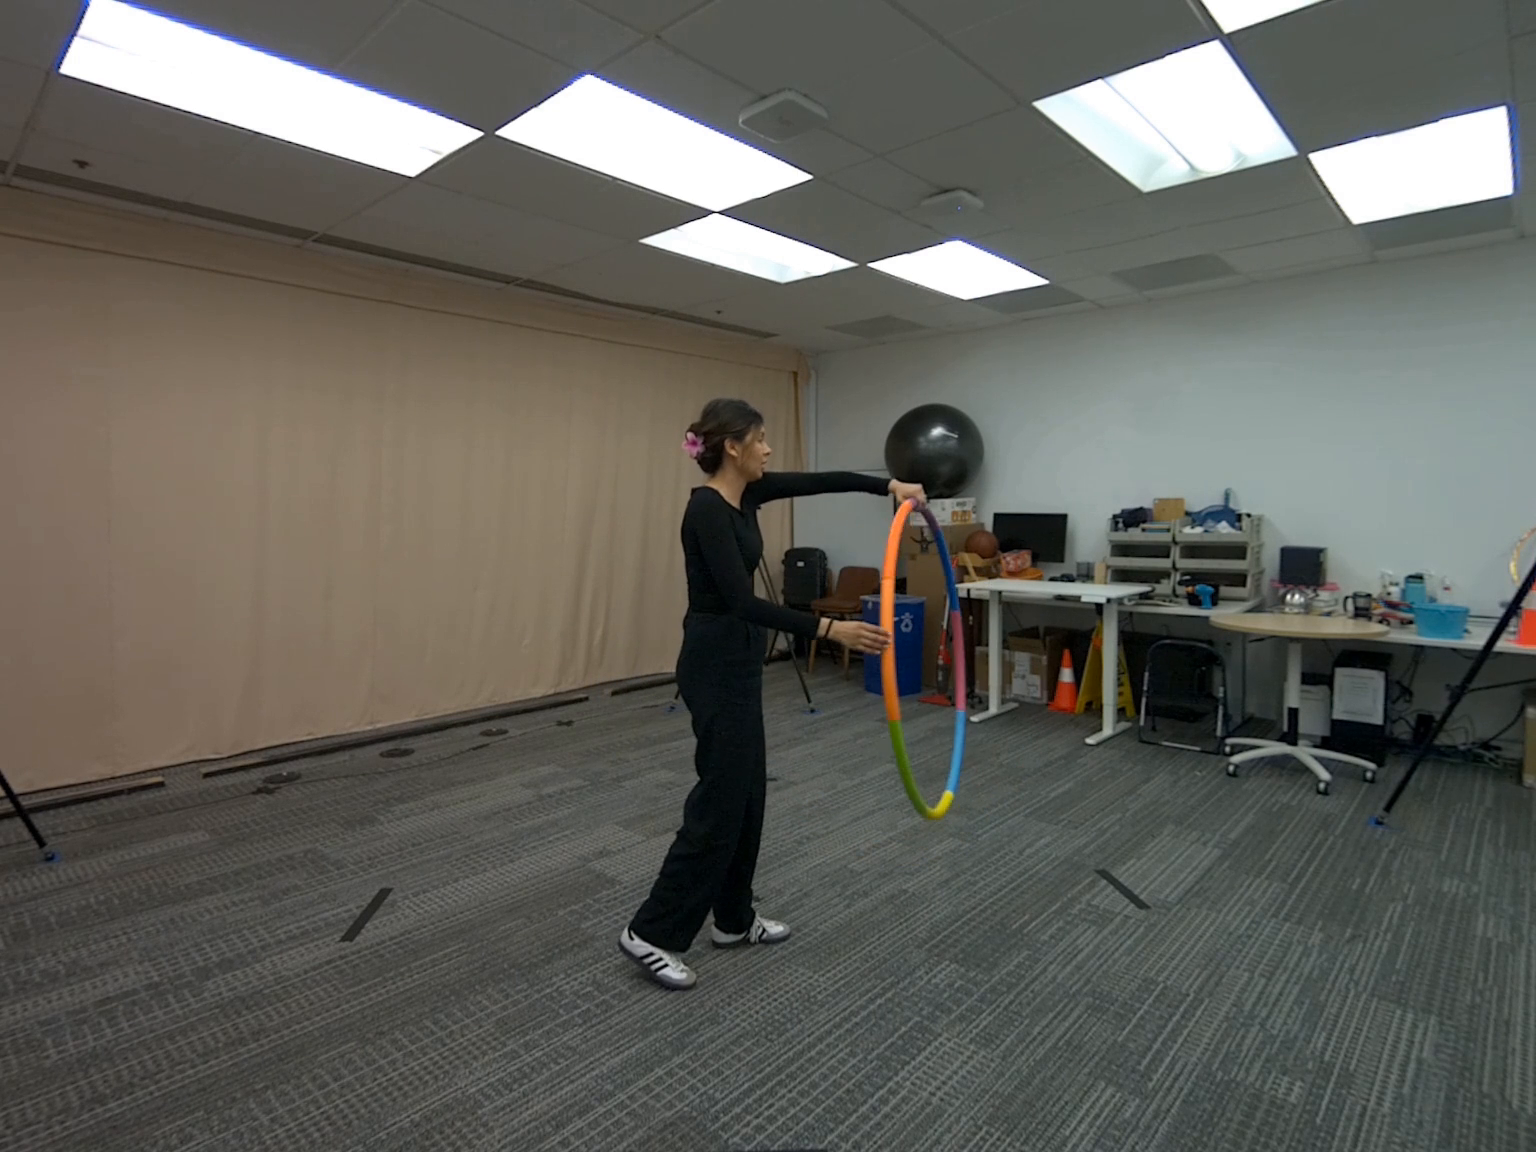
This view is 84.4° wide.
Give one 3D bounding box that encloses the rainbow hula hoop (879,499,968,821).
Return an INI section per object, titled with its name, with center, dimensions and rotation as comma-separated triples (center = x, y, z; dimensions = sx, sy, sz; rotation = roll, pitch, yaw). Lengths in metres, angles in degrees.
[rainbow hula hoop]
center = 0.507, 0.253, 2.649
dimensions = 0.053, 0.985, 0.963
rotation = -5, 1, 24
